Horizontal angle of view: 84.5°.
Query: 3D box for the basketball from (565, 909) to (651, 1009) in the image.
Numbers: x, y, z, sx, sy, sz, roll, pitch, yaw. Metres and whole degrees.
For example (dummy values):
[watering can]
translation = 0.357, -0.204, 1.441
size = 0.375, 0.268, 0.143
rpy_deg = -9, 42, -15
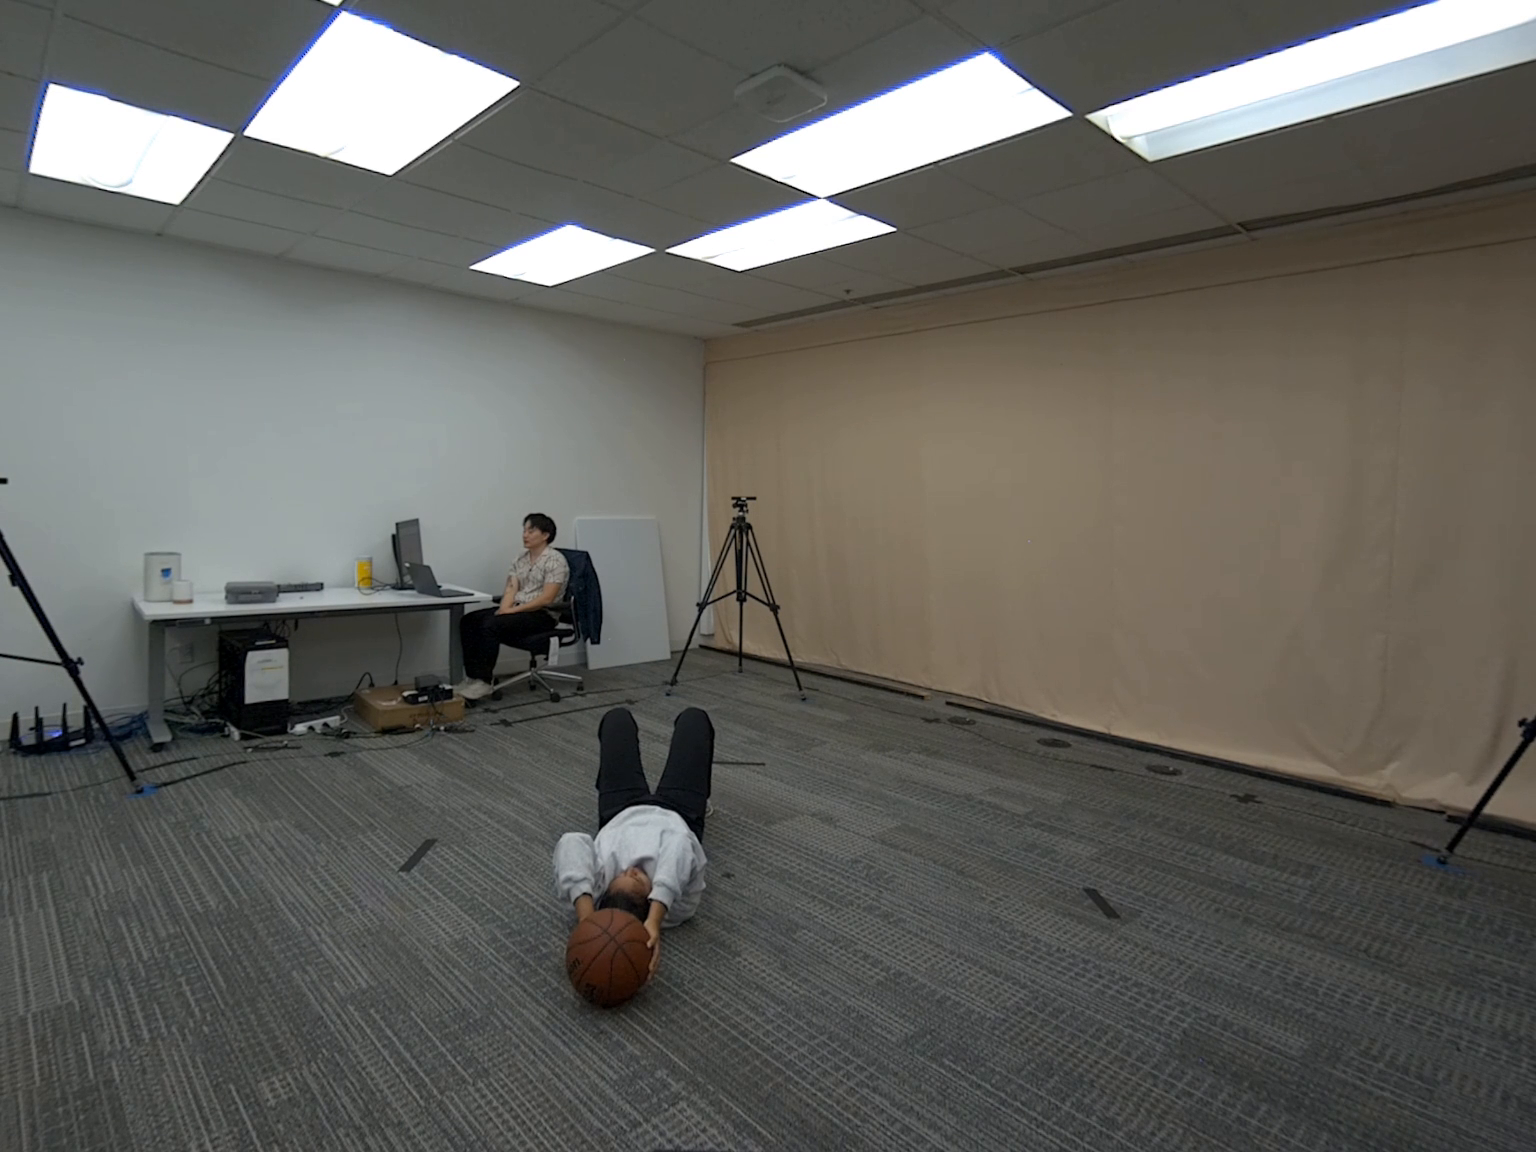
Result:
[basketball]
translation = -0.447, 1.048, 2.332
size = 0.236, 0.235, 0.237
rpy_deg = 1, 4, -1
